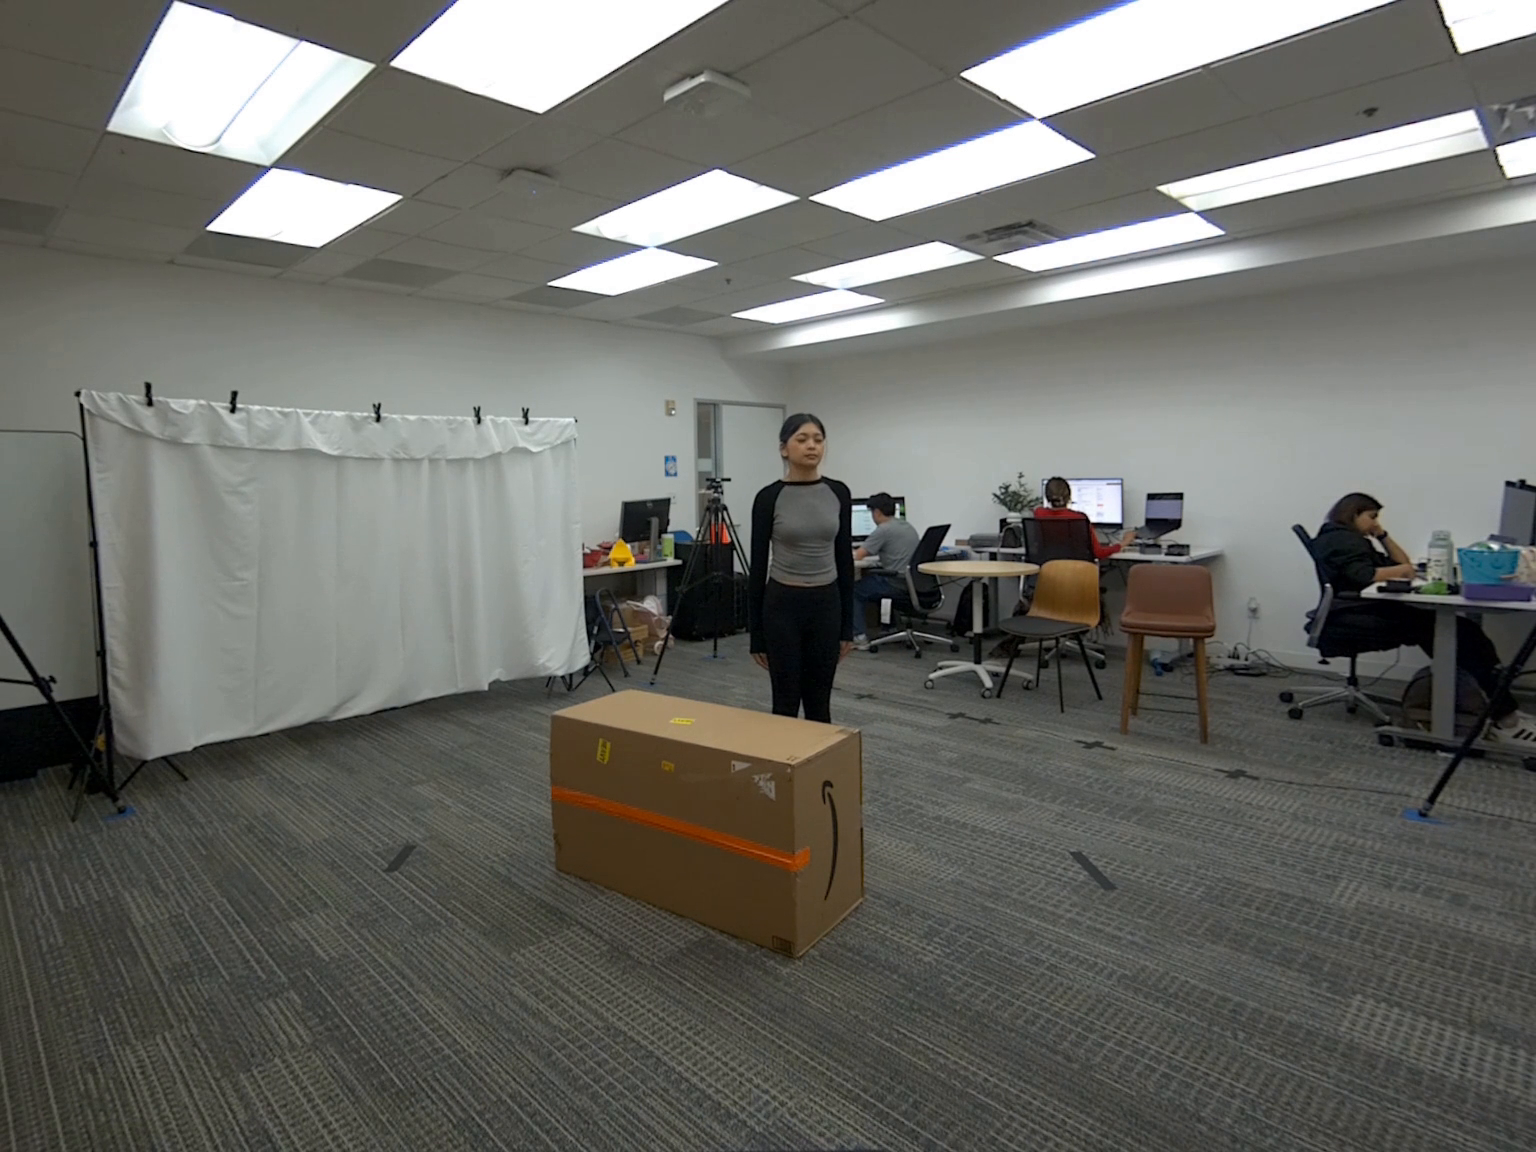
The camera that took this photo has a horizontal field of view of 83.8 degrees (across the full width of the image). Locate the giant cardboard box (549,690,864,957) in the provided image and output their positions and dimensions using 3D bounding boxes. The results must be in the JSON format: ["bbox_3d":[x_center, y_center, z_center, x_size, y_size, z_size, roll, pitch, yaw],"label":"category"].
[{"bbox_3d":[-0.232,0.781,2.926,1.056,0.575,0.415,3,5,36],"label":"giant cardboard box"}]
